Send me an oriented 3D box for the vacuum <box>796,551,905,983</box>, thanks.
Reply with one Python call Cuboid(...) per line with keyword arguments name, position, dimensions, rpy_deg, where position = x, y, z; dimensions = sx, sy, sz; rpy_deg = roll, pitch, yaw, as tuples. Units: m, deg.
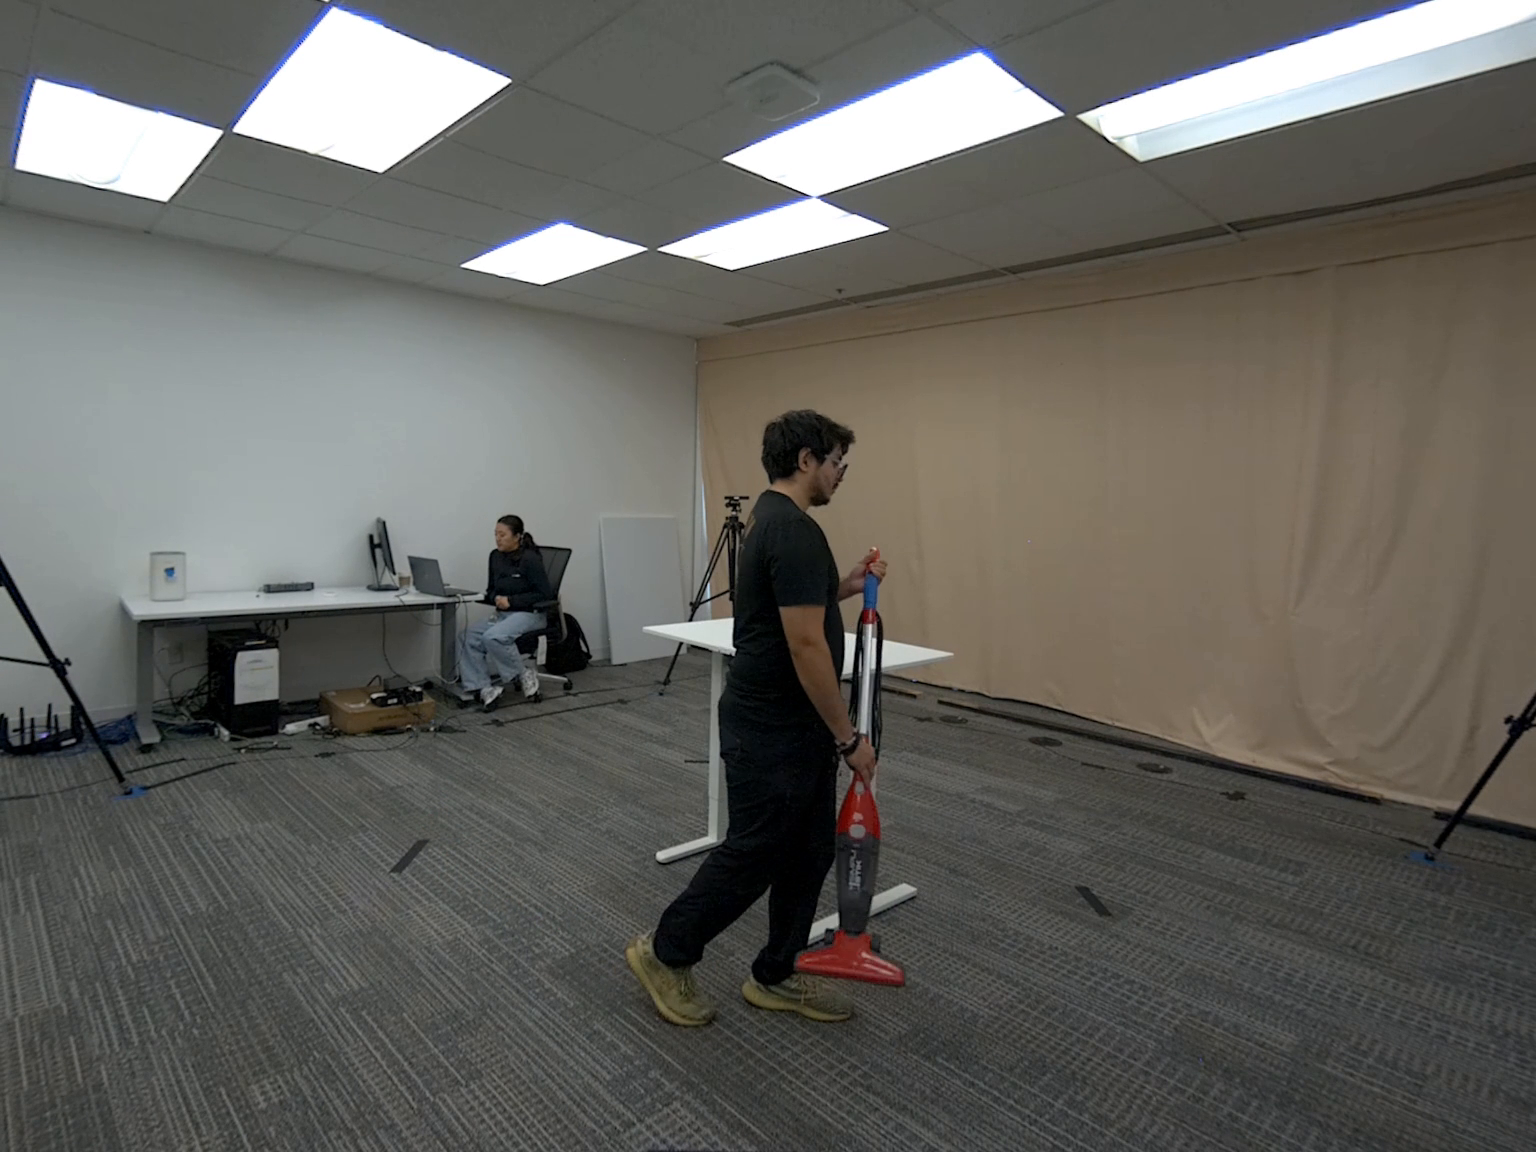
Cuboid(name="vacuum", position=(0.248, 0.418, 2.172), dimensions=(0.255, 1.065, 0.140), rpy_deg=(1, -25, 11))
